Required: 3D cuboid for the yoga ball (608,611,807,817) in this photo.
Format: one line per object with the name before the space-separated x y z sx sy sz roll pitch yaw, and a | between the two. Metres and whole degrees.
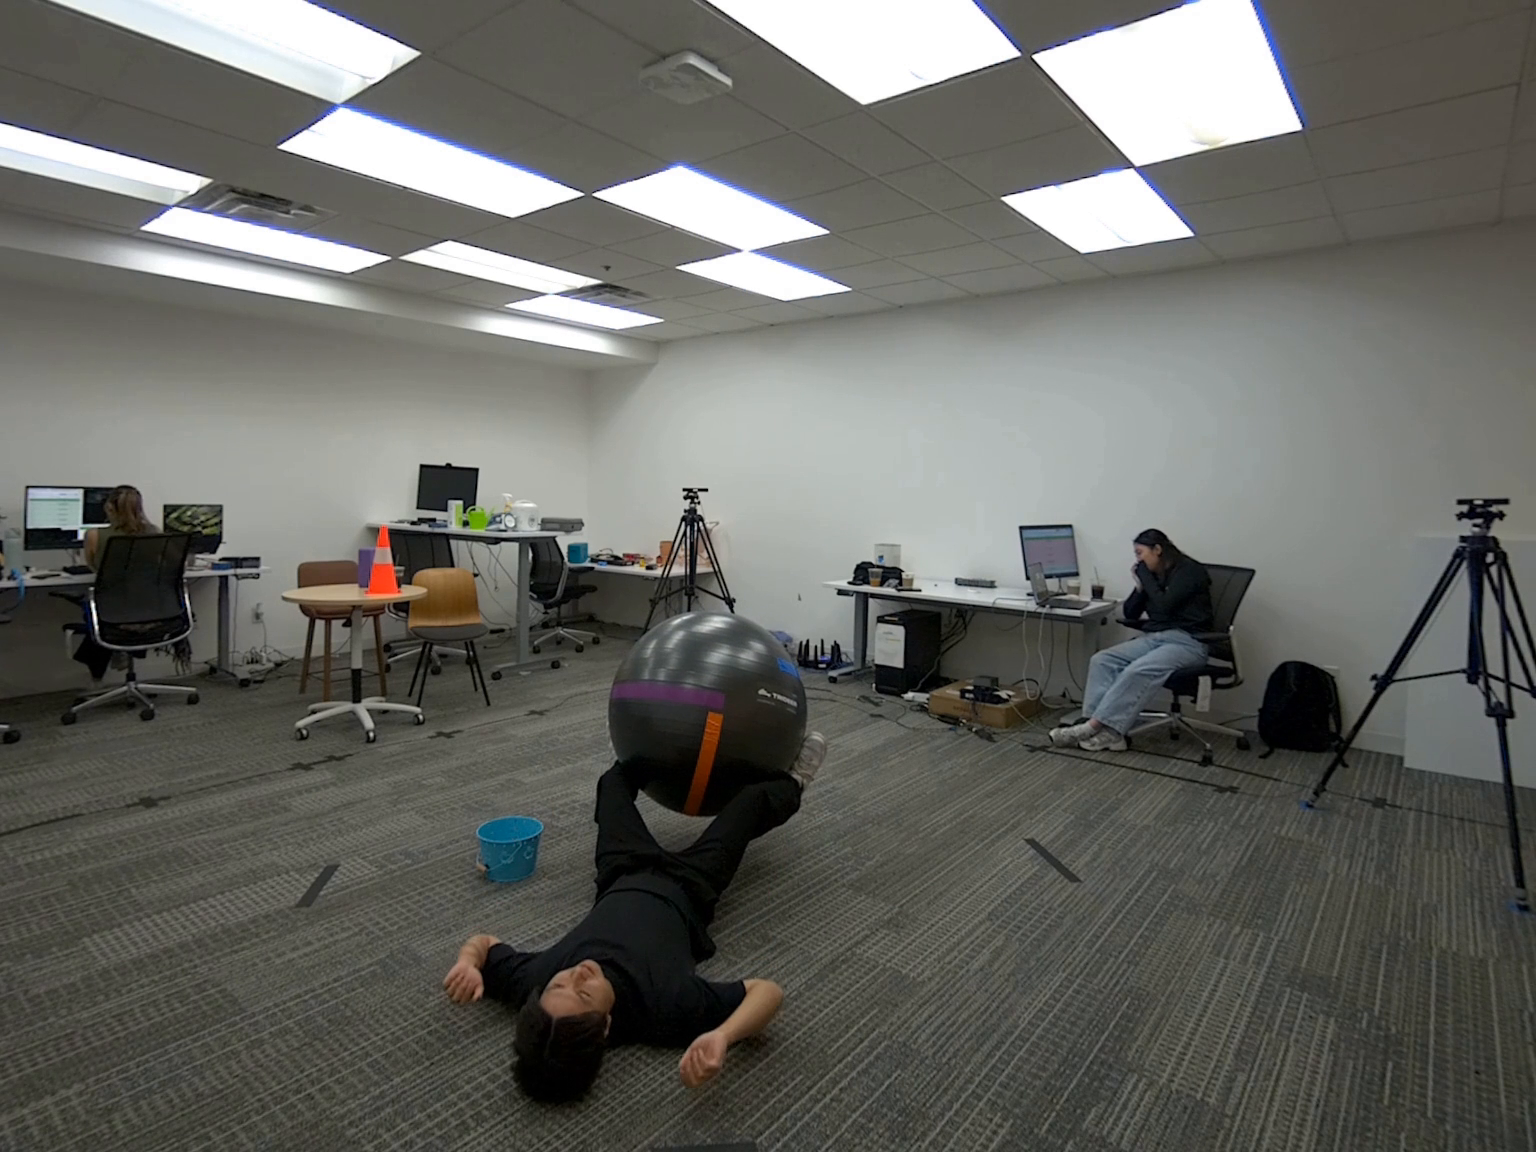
yoga ball | -0.242 0.516 3.239 0.757 0.755 0.762 1 4 -2
